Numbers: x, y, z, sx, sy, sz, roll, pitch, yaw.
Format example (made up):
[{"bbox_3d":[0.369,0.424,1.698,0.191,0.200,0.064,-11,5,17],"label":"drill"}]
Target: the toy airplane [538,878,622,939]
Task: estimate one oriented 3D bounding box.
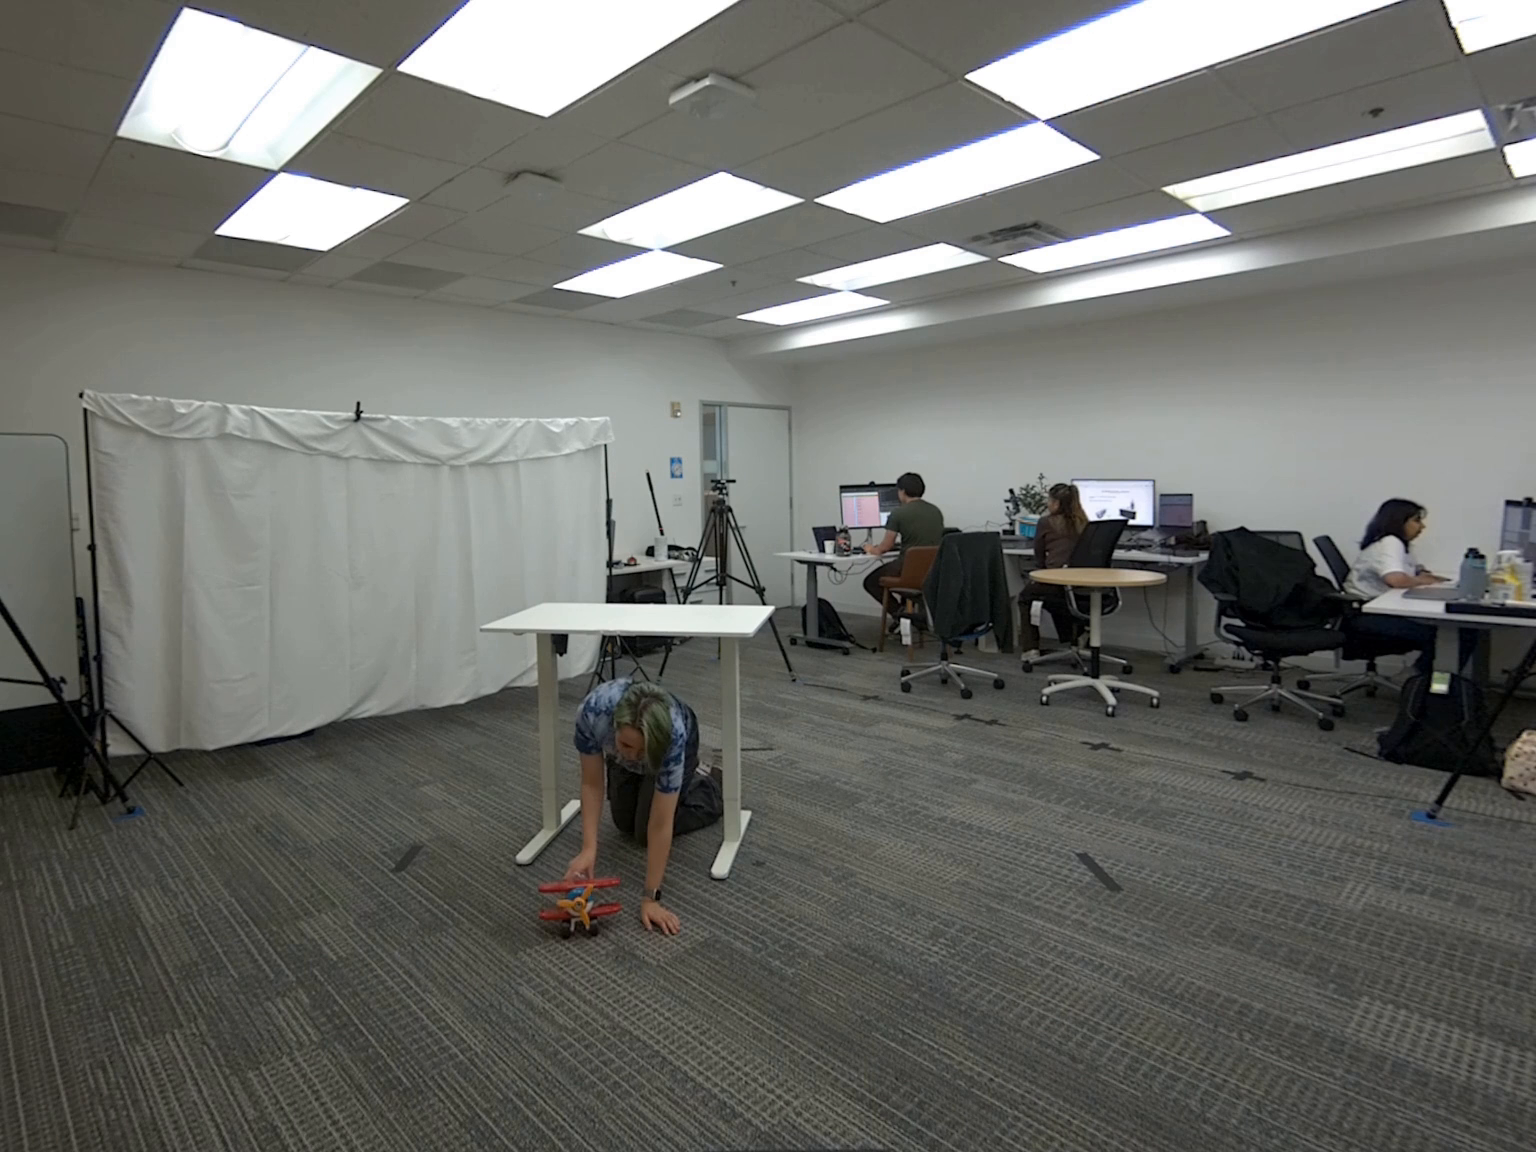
[{"bbox_3d":[-0.610,1.034,2.718,0.245,0.155,0.267,-7,9,-36],"label":"toy airplane"}]
